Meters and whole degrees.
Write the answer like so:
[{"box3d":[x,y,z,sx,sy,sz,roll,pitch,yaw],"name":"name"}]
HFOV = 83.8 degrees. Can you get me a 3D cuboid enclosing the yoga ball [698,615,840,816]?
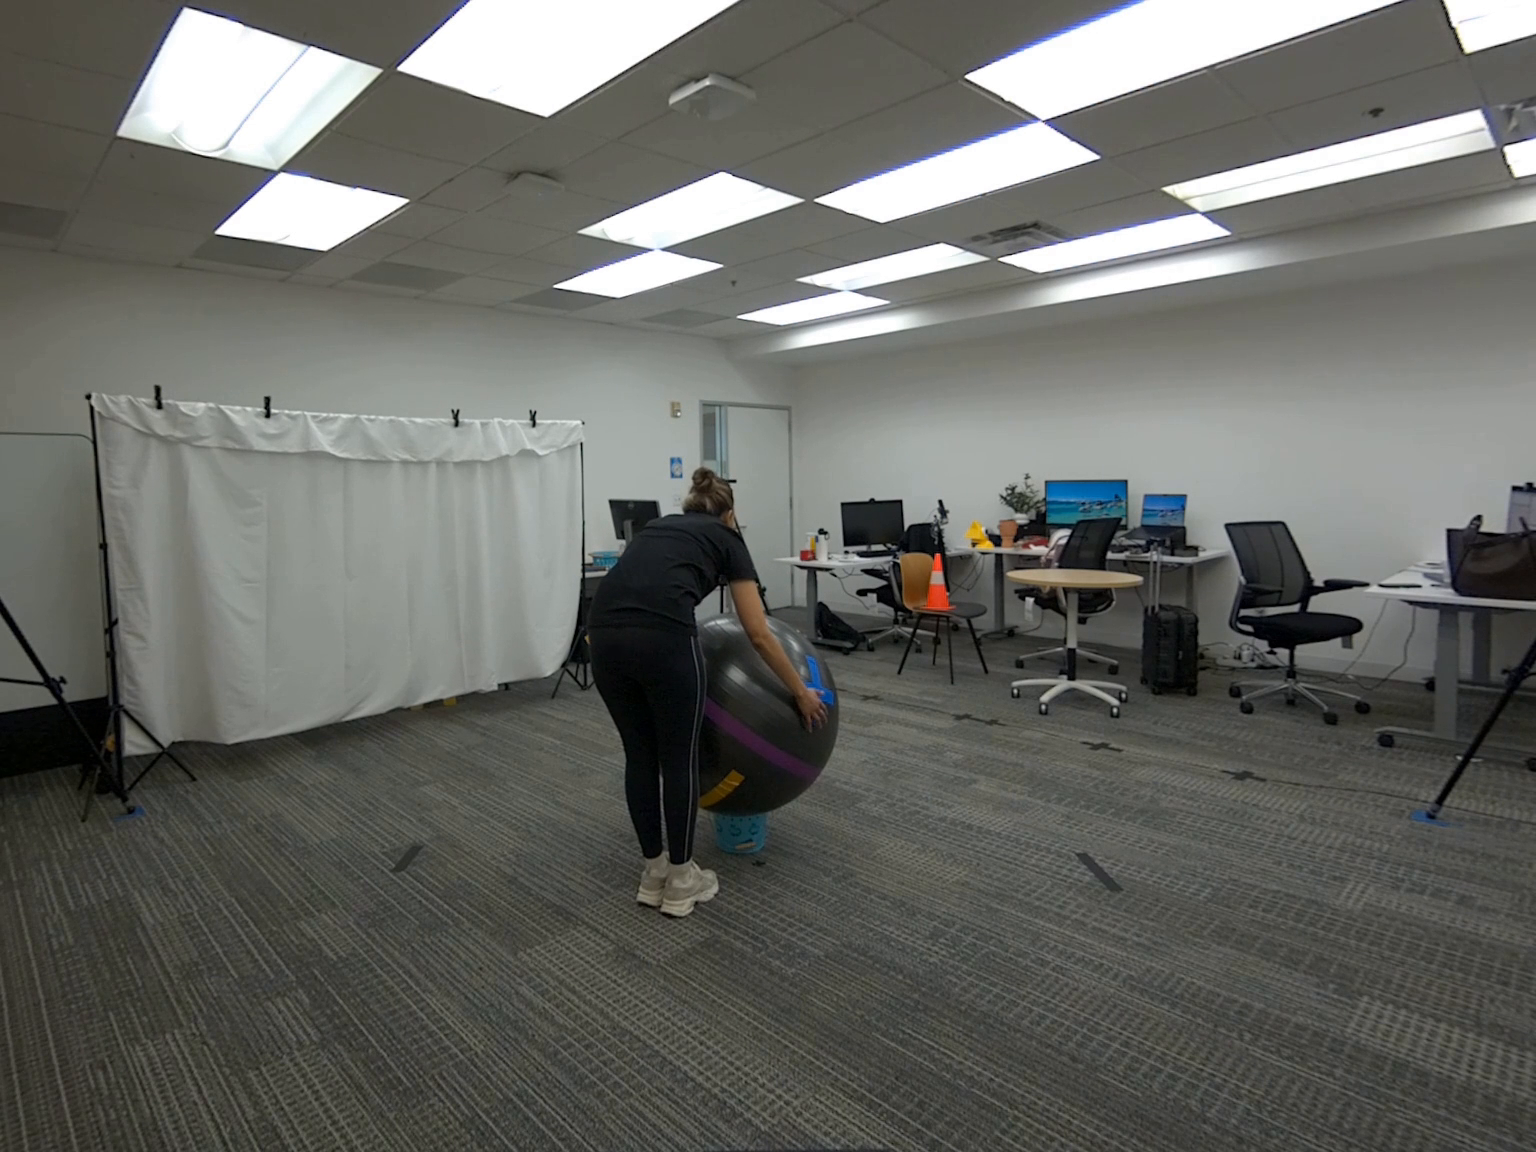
[{"box3d":[-0.107,0.524,3.269,0.757,0.755,0.762,-1,5,-2],"name":"yoga ball"}]
